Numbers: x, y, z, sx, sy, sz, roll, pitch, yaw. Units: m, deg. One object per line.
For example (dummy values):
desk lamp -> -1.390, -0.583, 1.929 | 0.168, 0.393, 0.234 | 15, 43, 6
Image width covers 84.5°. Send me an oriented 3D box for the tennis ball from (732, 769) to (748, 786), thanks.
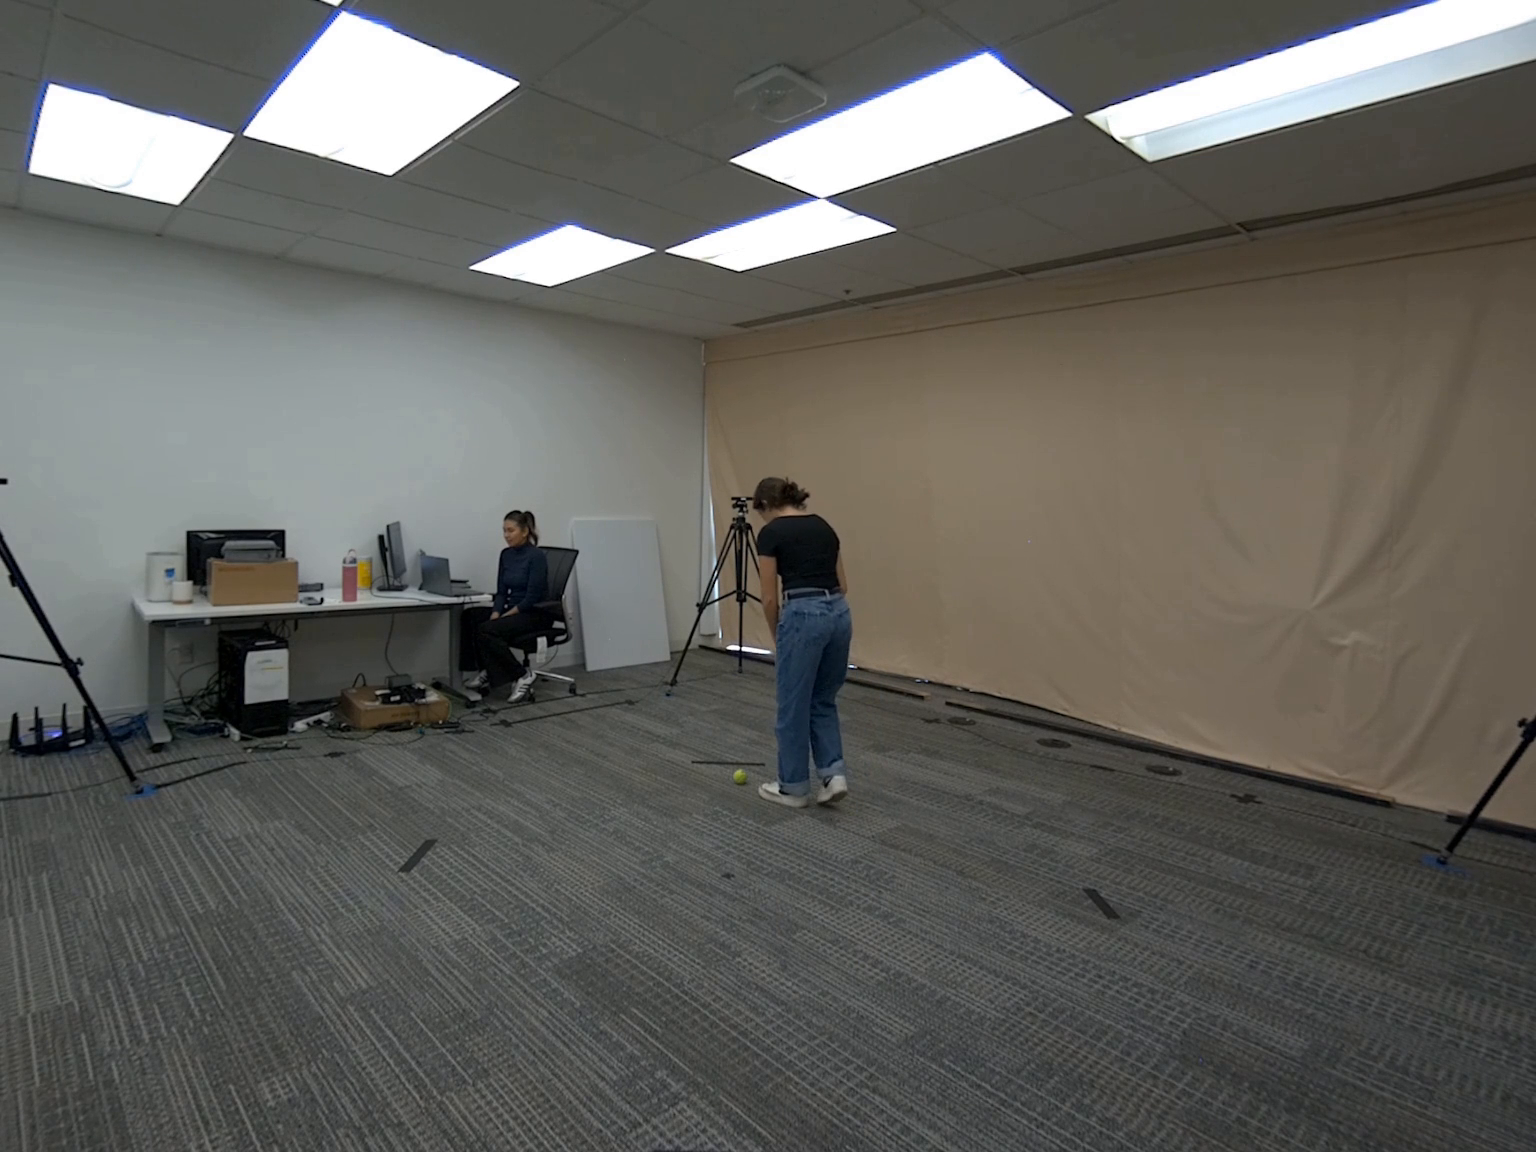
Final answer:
tennis ball -> -0.137, 0.980, 4.123 | 0.066, 0.066, 0.067 | 1, 4, -1
